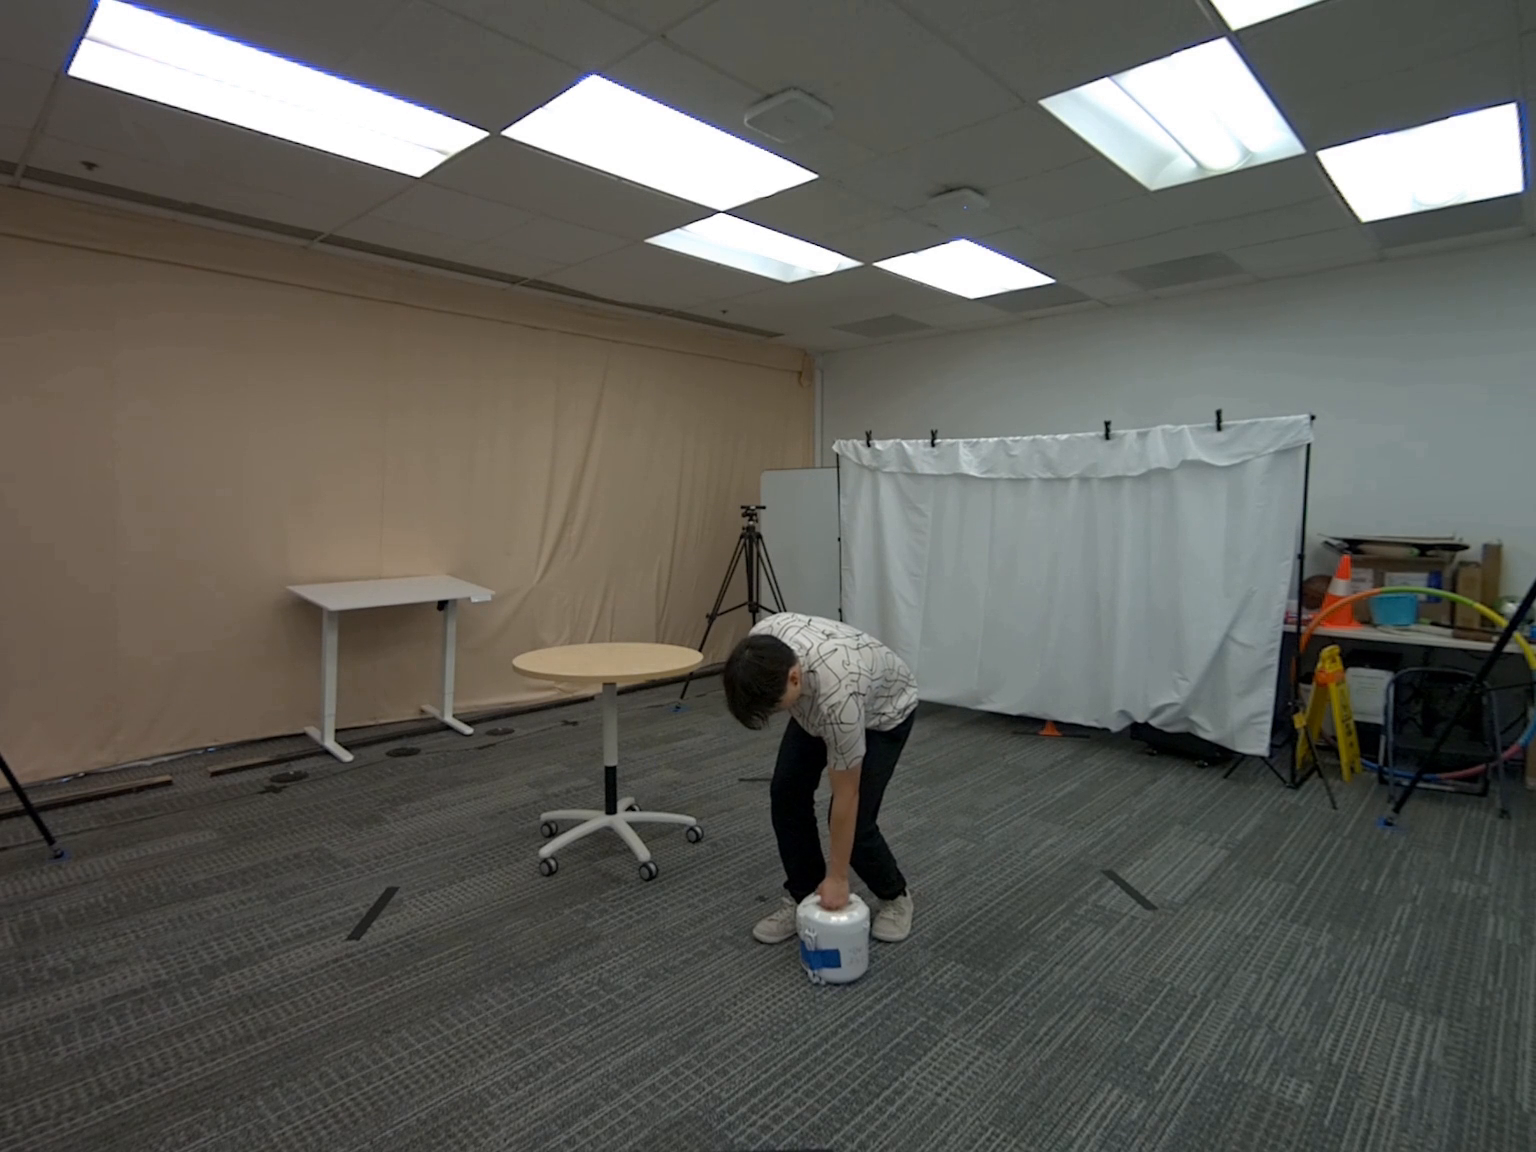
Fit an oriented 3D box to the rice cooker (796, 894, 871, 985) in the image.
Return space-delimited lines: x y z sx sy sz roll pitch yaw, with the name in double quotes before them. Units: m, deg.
"rice cooker" 0.197 1.066 2.527 0.219 0.232 0.219 -1 4 -6
